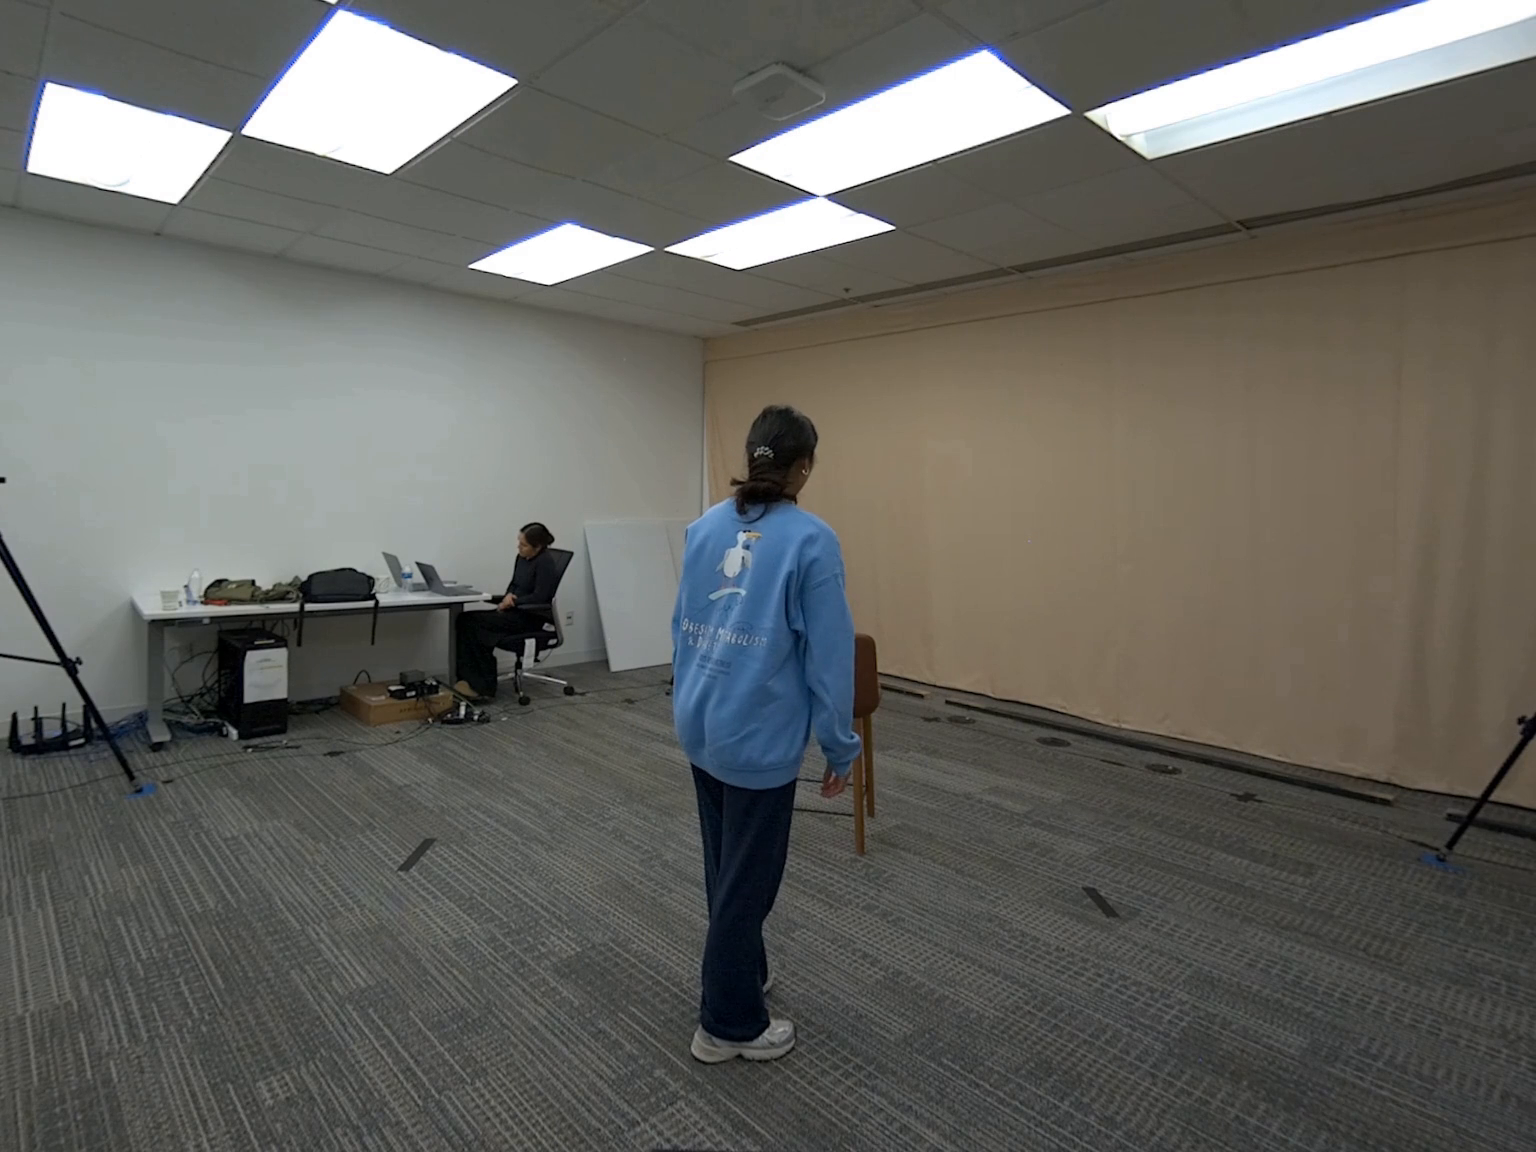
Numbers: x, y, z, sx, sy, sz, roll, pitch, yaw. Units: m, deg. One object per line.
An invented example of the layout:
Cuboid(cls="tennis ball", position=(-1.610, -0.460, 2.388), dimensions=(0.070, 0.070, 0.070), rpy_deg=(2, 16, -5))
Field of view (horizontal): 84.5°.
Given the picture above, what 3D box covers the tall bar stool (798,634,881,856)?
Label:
Cuboid(cls="tall bar stool", position=(0.240, 0.638, 3.532), dimensions=(0.461, 0.887, 0.464), rpy_deg=(2, 4, 13))
